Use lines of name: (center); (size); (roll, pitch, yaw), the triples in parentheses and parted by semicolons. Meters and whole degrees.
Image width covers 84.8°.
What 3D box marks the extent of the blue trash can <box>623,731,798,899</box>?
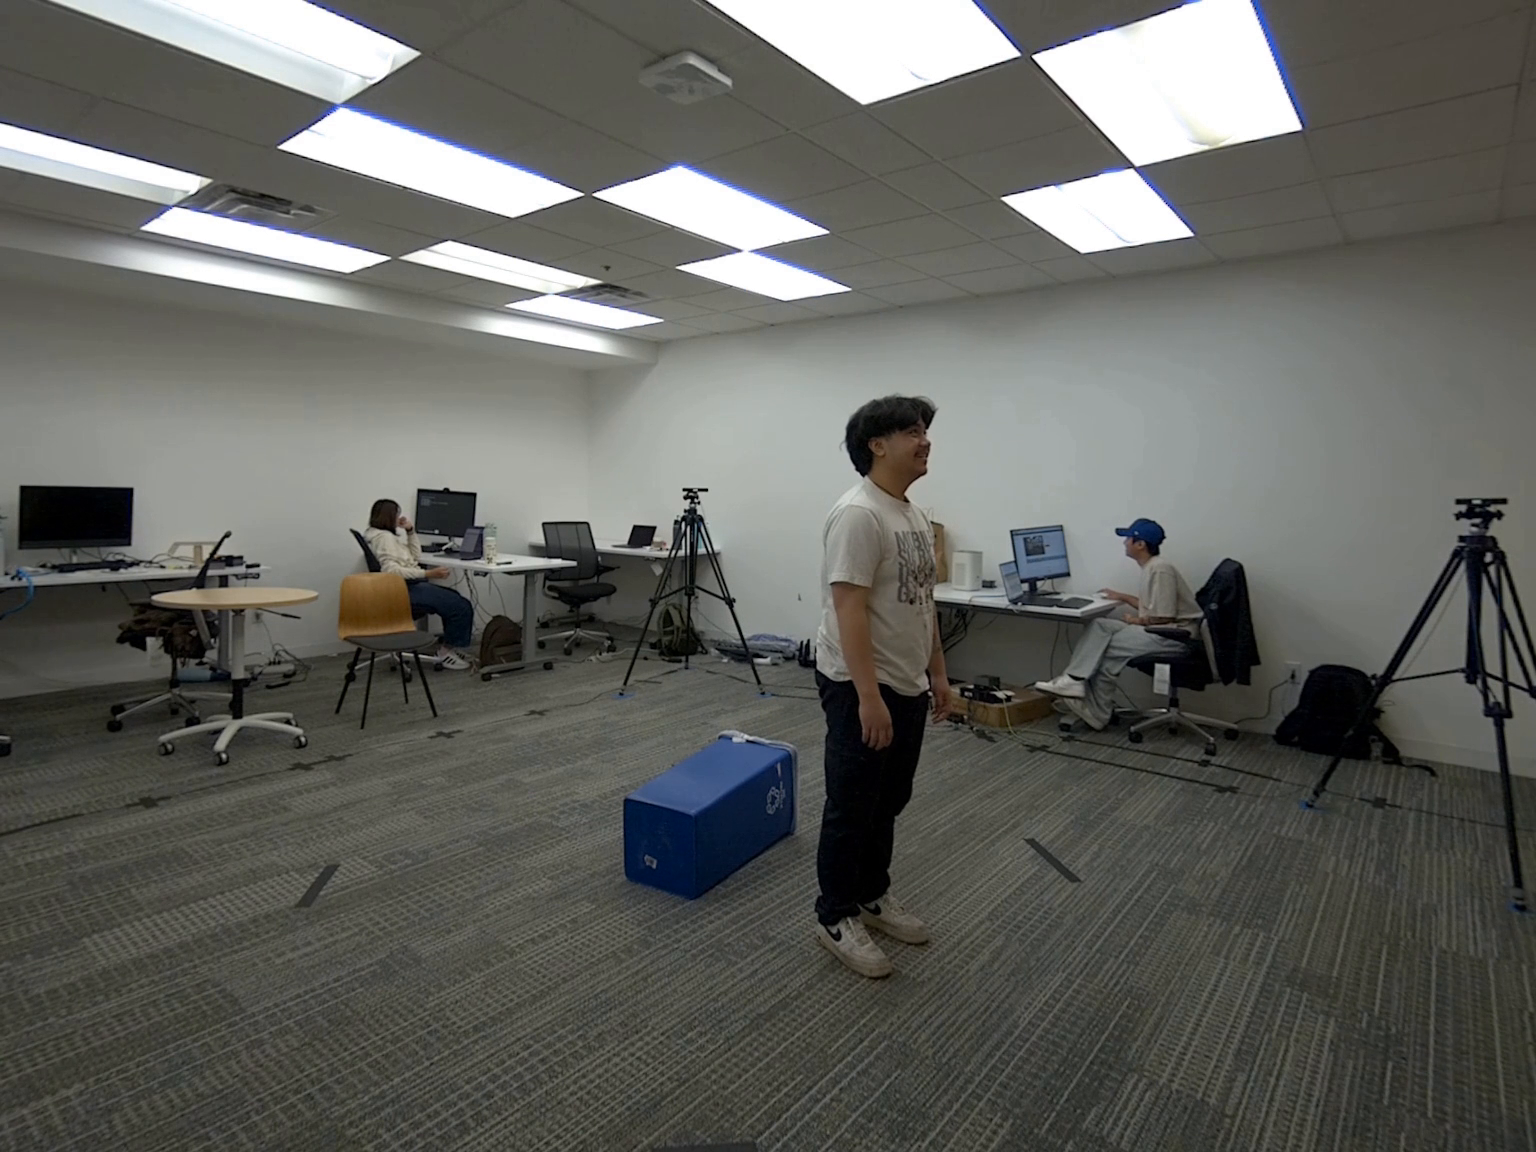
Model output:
blue trash can: (-0.220, 0.892, 3.229); (0.389, 0.371, 0.697); (4, 10, 30)
